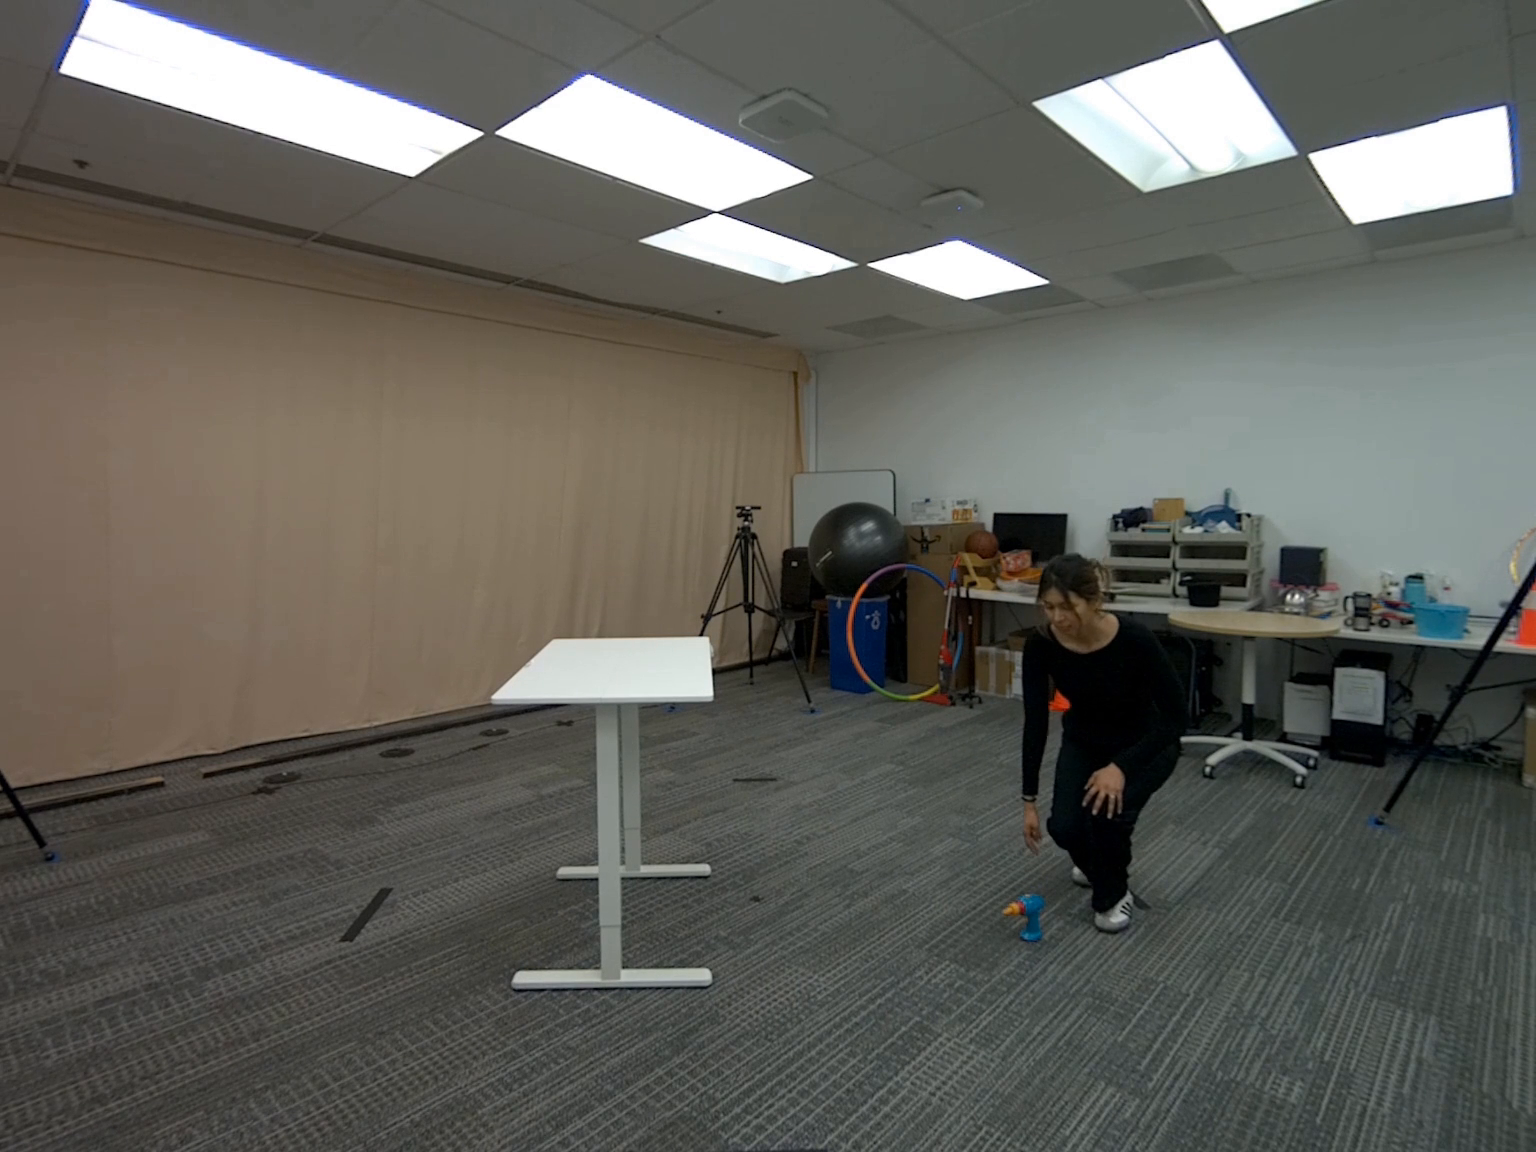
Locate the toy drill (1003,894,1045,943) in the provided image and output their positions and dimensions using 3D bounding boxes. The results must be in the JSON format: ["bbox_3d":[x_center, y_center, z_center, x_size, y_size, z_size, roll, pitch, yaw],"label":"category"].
[{"bbox_3d":[0.828,1.101,2.686,0.165,0.145,0.063,-3,6,-28],"label":"toy drill"}]
